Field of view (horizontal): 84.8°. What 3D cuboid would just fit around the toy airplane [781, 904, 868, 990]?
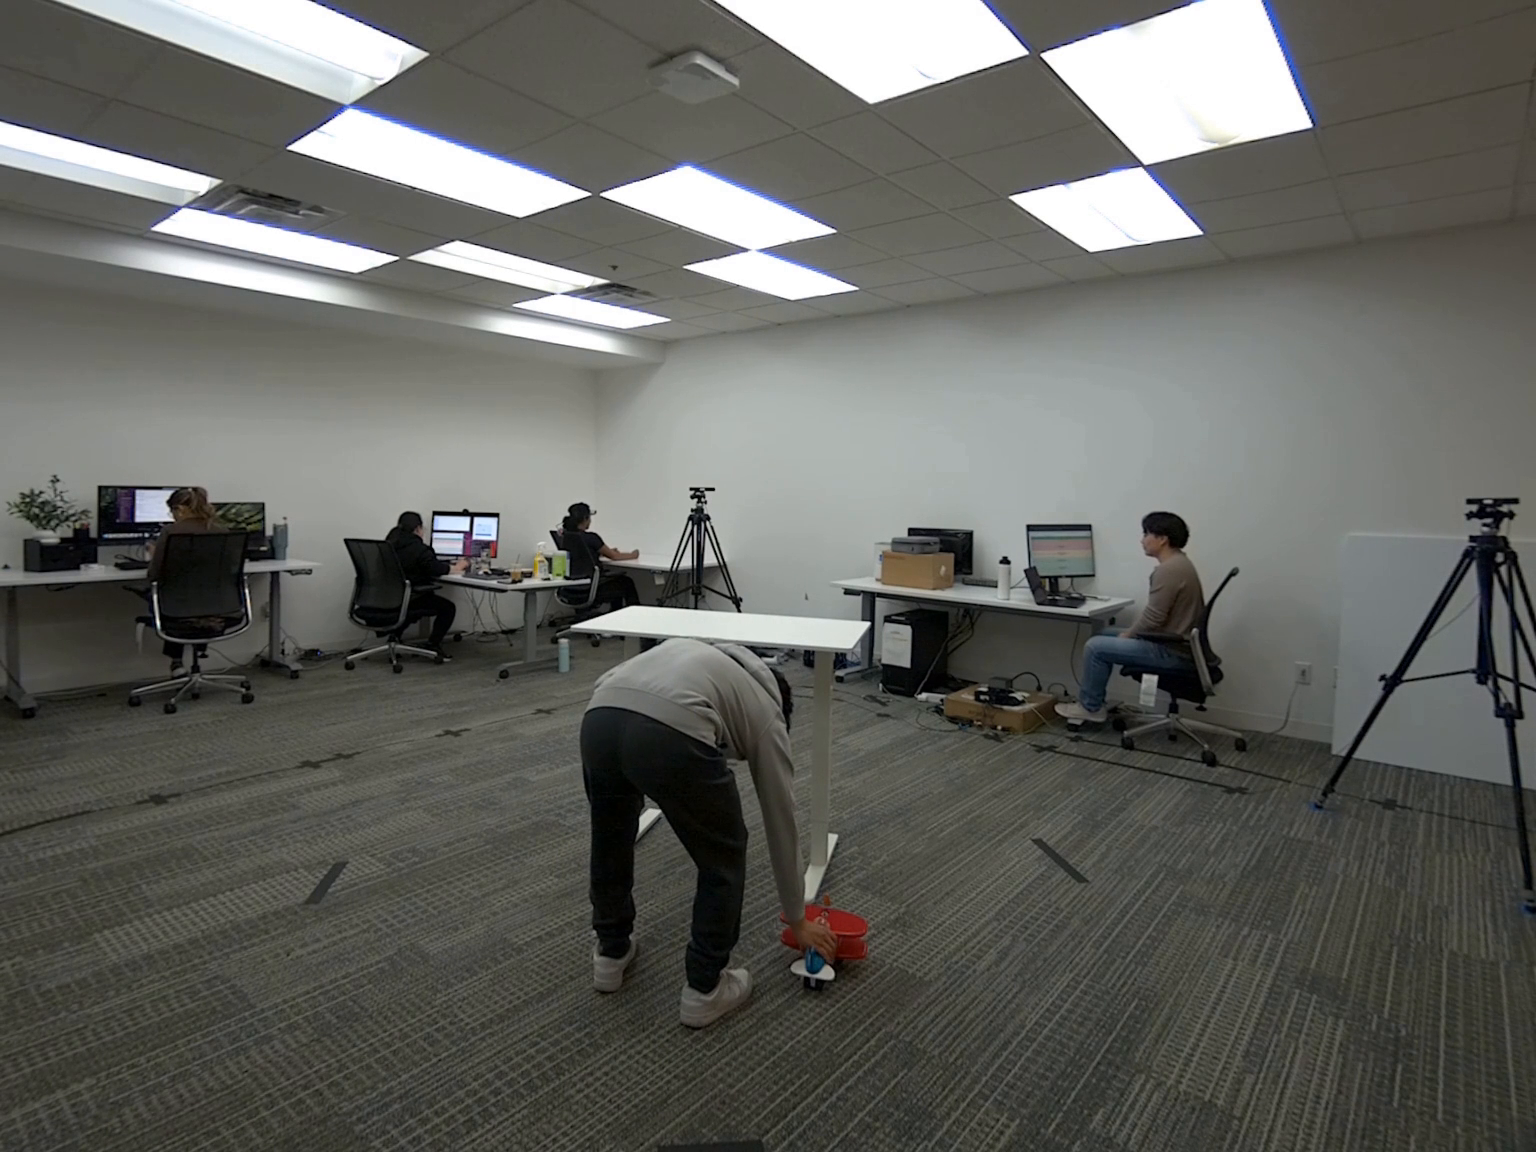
[{"bbox_3d":[0.165,1.063,2.464,0.249,0.156,0.262,0,5,-9],"label":"toy airplane"}]
